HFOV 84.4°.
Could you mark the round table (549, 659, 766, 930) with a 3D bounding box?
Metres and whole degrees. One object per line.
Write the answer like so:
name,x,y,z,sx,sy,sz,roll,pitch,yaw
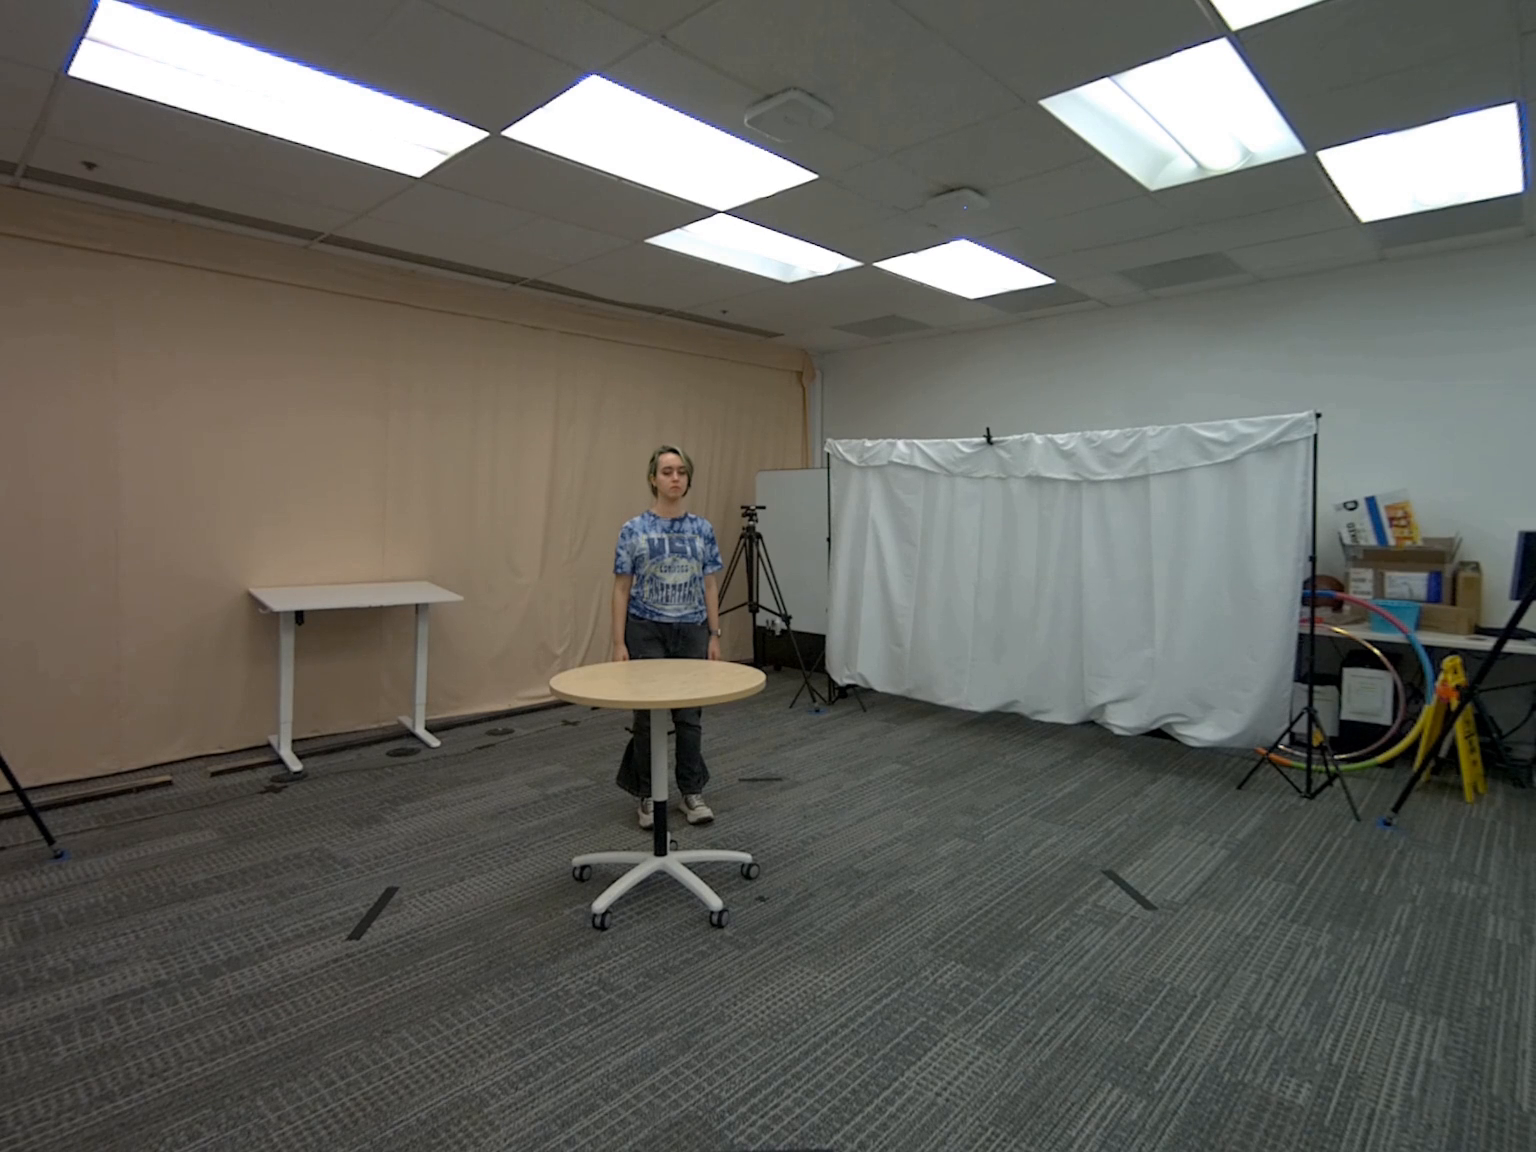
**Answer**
round table,-0.375,0.754,3.021,0.763,0.792,0.766,-1,3,-2
